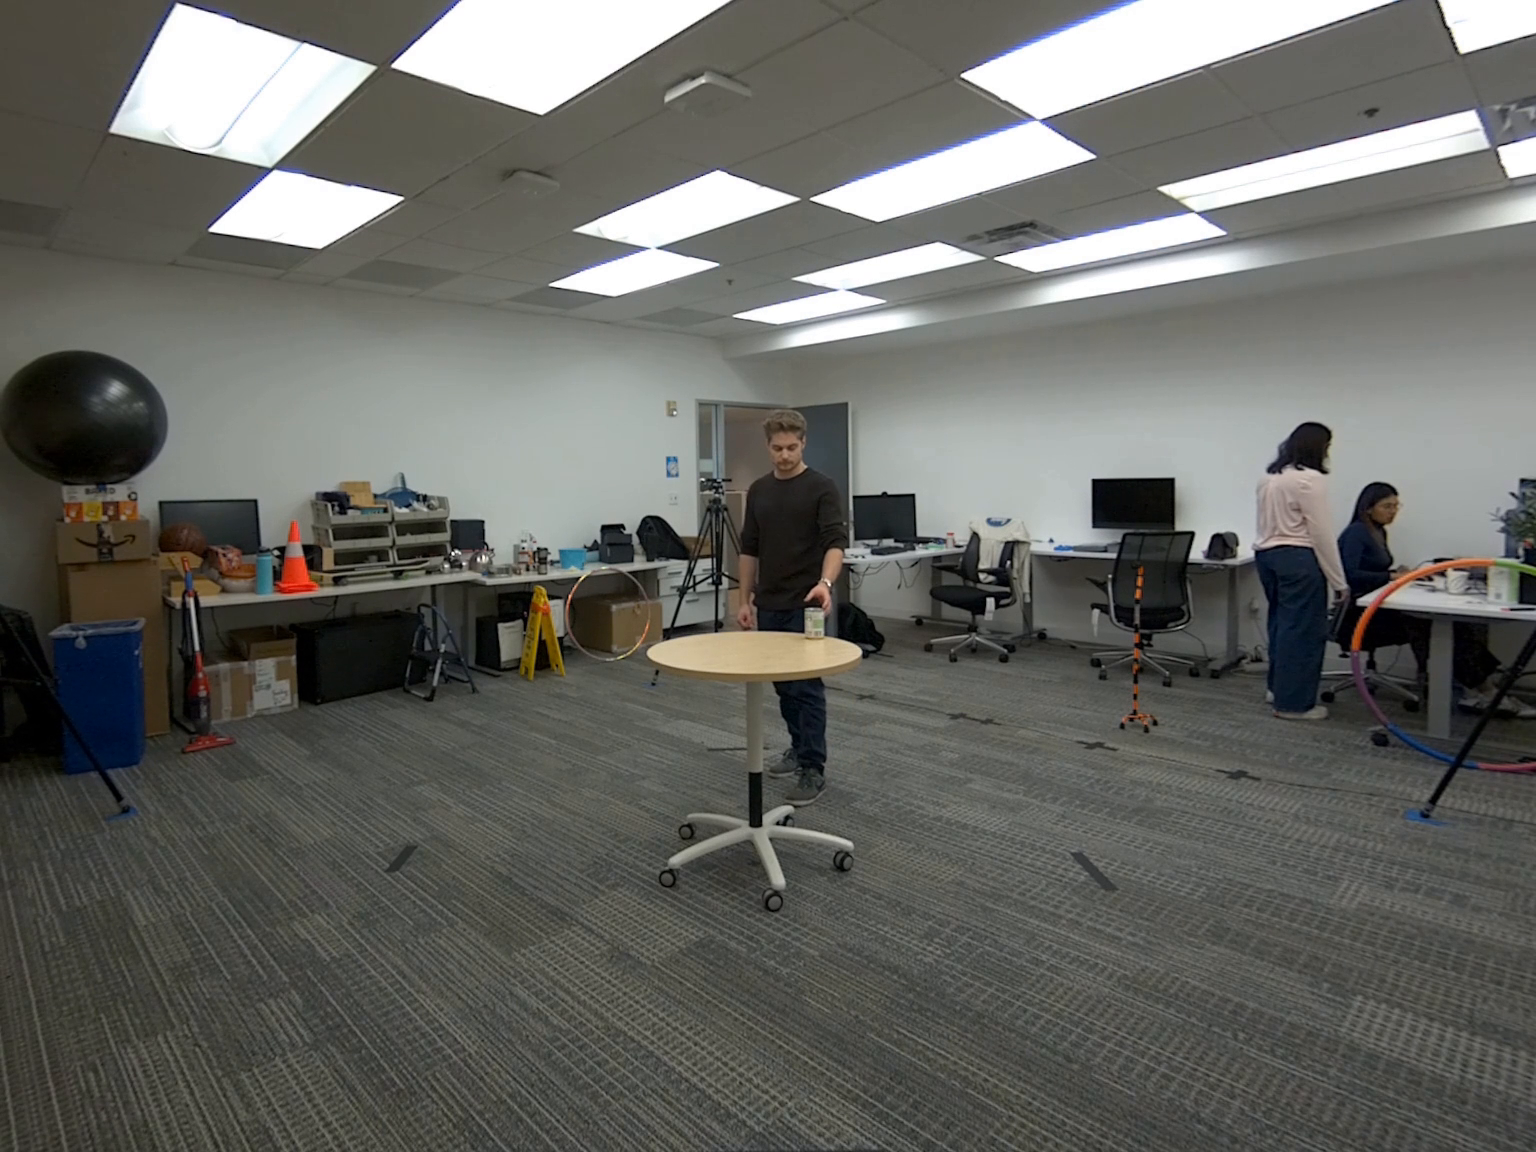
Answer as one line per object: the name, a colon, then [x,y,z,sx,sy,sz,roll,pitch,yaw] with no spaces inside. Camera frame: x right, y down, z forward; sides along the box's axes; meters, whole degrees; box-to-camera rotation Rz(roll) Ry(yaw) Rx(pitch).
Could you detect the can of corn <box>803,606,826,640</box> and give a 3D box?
can of corn: [0.185,0.185,3.274,0.074,0.110,0.074,-2,4,-2]
